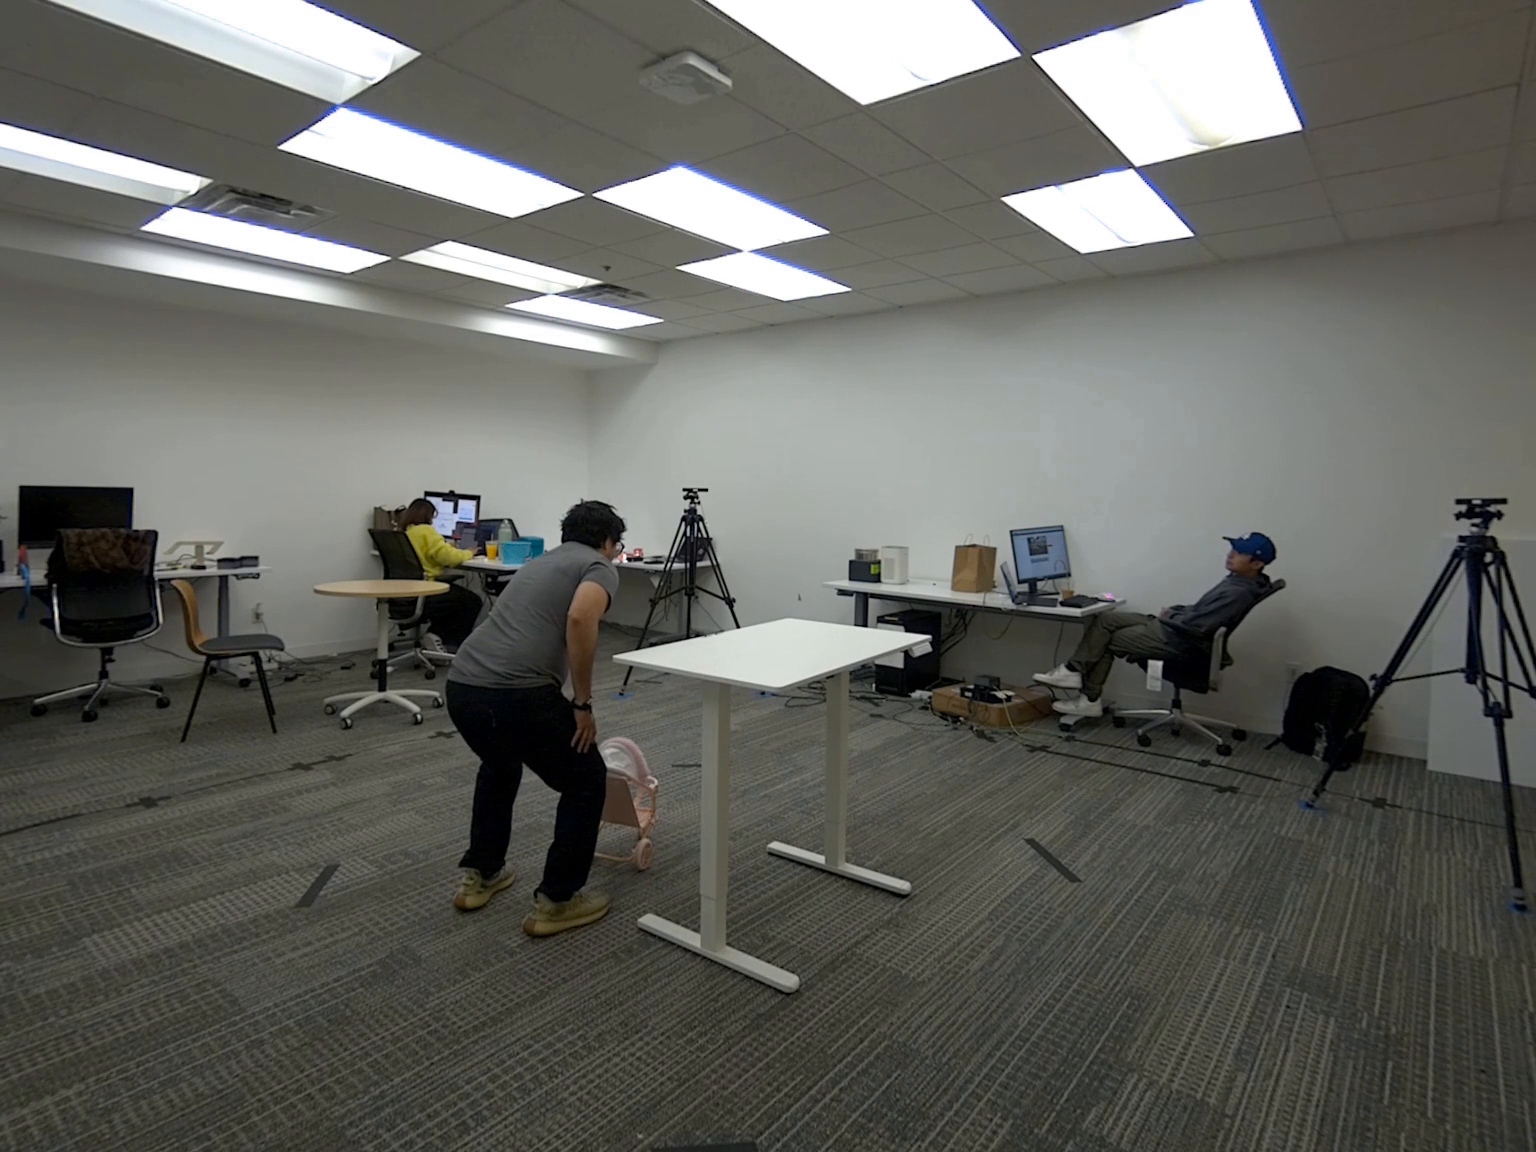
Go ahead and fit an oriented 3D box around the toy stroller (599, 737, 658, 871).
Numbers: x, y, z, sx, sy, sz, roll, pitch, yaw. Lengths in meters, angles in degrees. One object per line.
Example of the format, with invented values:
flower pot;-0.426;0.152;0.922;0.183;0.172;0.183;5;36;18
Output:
toy stroller;-0.558;0.835;3.193;0.288;0.525;0.339;4;20;22
